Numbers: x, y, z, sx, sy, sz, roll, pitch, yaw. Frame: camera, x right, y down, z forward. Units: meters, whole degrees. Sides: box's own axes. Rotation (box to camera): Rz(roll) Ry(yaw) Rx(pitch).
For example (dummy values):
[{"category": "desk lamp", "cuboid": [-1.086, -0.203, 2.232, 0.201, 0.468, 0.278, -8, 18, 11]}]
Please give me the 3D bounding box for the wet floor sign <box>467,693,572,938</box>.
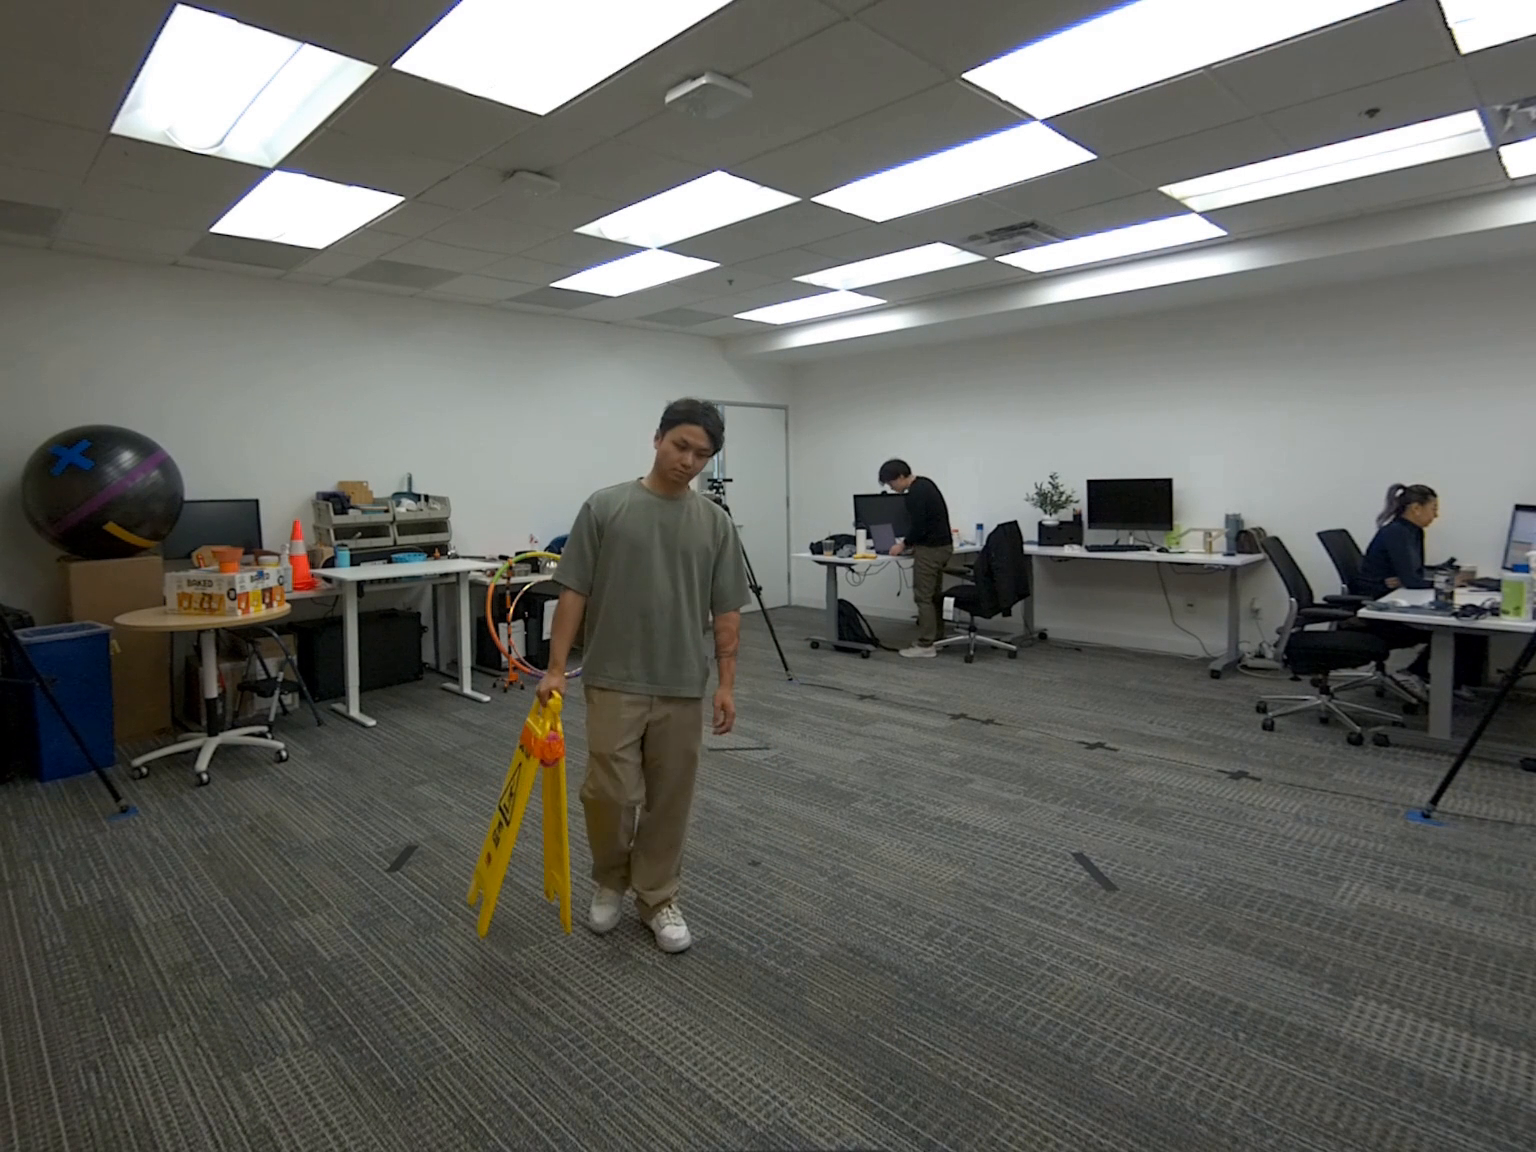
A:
[{"category": "wet floor sign", "cuboid": [-0.669, 0.651, 2.455, 0.282, 0.647, 0.289, 9, -1, -27]}]
